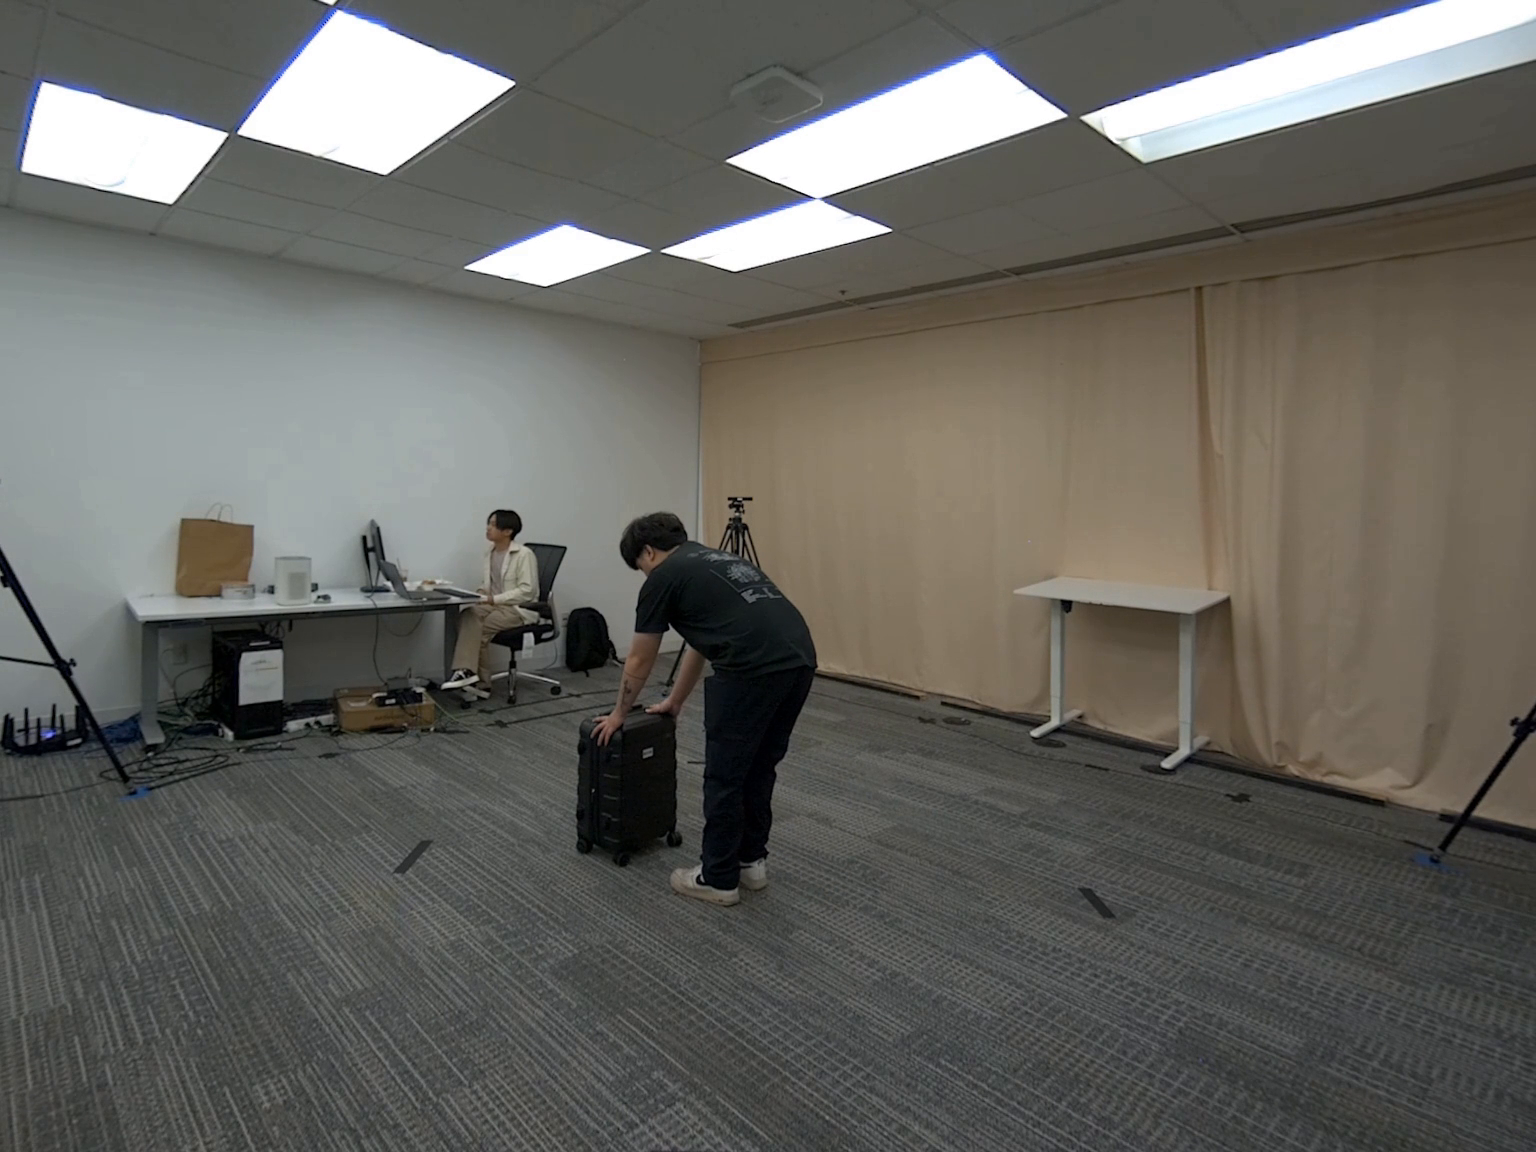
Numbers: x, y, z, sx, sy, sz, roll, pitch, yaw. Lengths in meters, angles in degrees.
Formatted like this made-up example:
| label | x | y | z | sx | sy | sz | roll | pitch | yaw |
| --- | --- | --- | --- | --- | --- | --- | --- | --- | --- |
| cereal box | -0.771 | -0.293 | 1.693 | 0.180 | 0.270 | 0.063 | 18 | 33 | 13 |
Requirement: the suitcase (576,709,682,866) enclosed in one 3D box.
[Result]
| label | x | y | z | sx | sy | sz | roll | pitch | yaw |
| --- | --- | --- | --- | --- | --- | --- | --- | --- | --- |
| suitcase | -0.563 | 0.806 | 3.334 | 0.254 | 0.548 | 0.367 | 3 | 3 | 38 |
